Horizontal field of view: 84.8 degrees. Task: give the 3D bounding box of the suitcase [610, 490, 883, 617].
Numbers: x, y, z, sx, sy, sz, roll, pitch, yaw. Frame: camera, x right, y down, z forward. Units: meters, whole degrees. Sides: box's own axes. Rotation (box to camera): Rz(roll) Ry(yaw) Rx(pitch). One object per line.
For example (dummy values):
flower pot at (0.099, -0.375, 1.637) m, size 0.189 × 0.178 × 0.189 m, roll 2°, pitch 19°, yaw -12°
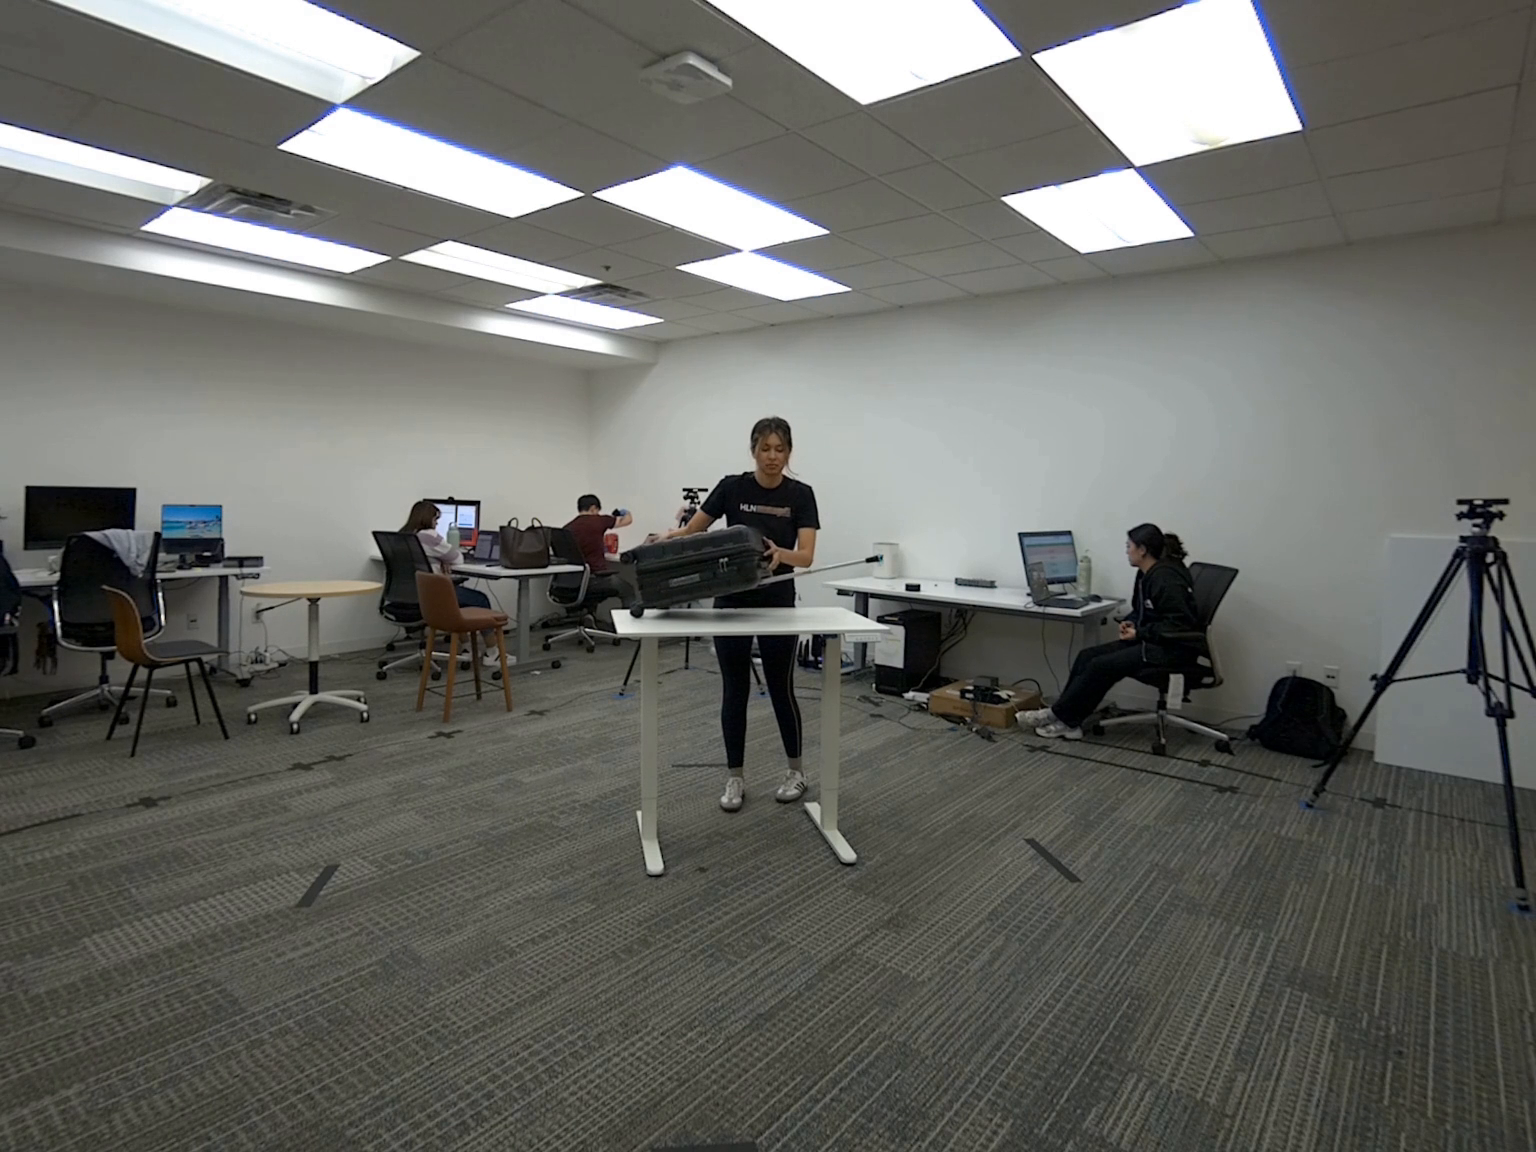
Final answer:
suitcase at (-0.083, -0.078, 3.341) m, size 0.991 × 0.259 × 0.376 m, roll -13°, pitch -4°, yaw 16°
